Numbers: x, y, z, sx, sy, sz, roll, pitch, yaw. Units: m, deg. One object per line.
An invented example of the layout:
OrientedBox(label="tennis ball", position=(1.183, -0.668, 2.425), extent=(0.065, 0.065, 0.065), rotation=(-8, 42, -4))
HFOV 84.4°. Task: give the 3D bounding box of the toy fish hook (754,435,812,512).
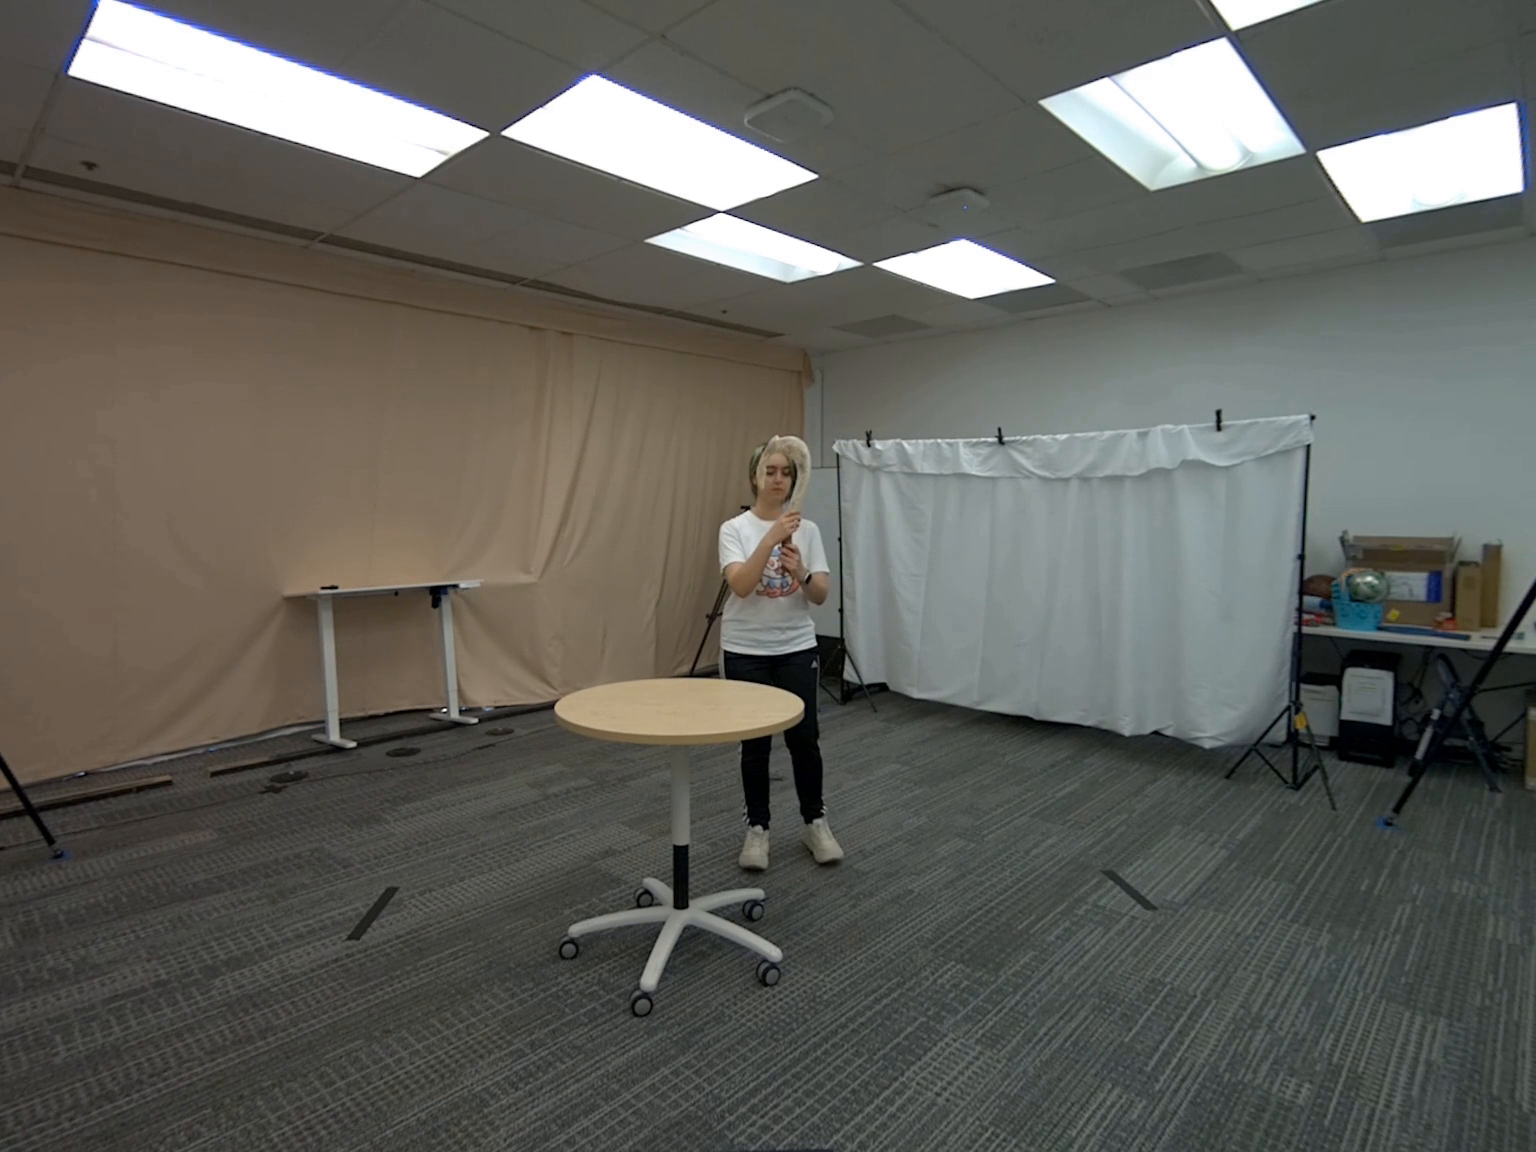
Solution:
OrientedBox(label="toy fish hook", position=(0.043, -0.253, 3.065), extent=(0.232, 0.505, 0.047), rotation=(11, 8, 40))
